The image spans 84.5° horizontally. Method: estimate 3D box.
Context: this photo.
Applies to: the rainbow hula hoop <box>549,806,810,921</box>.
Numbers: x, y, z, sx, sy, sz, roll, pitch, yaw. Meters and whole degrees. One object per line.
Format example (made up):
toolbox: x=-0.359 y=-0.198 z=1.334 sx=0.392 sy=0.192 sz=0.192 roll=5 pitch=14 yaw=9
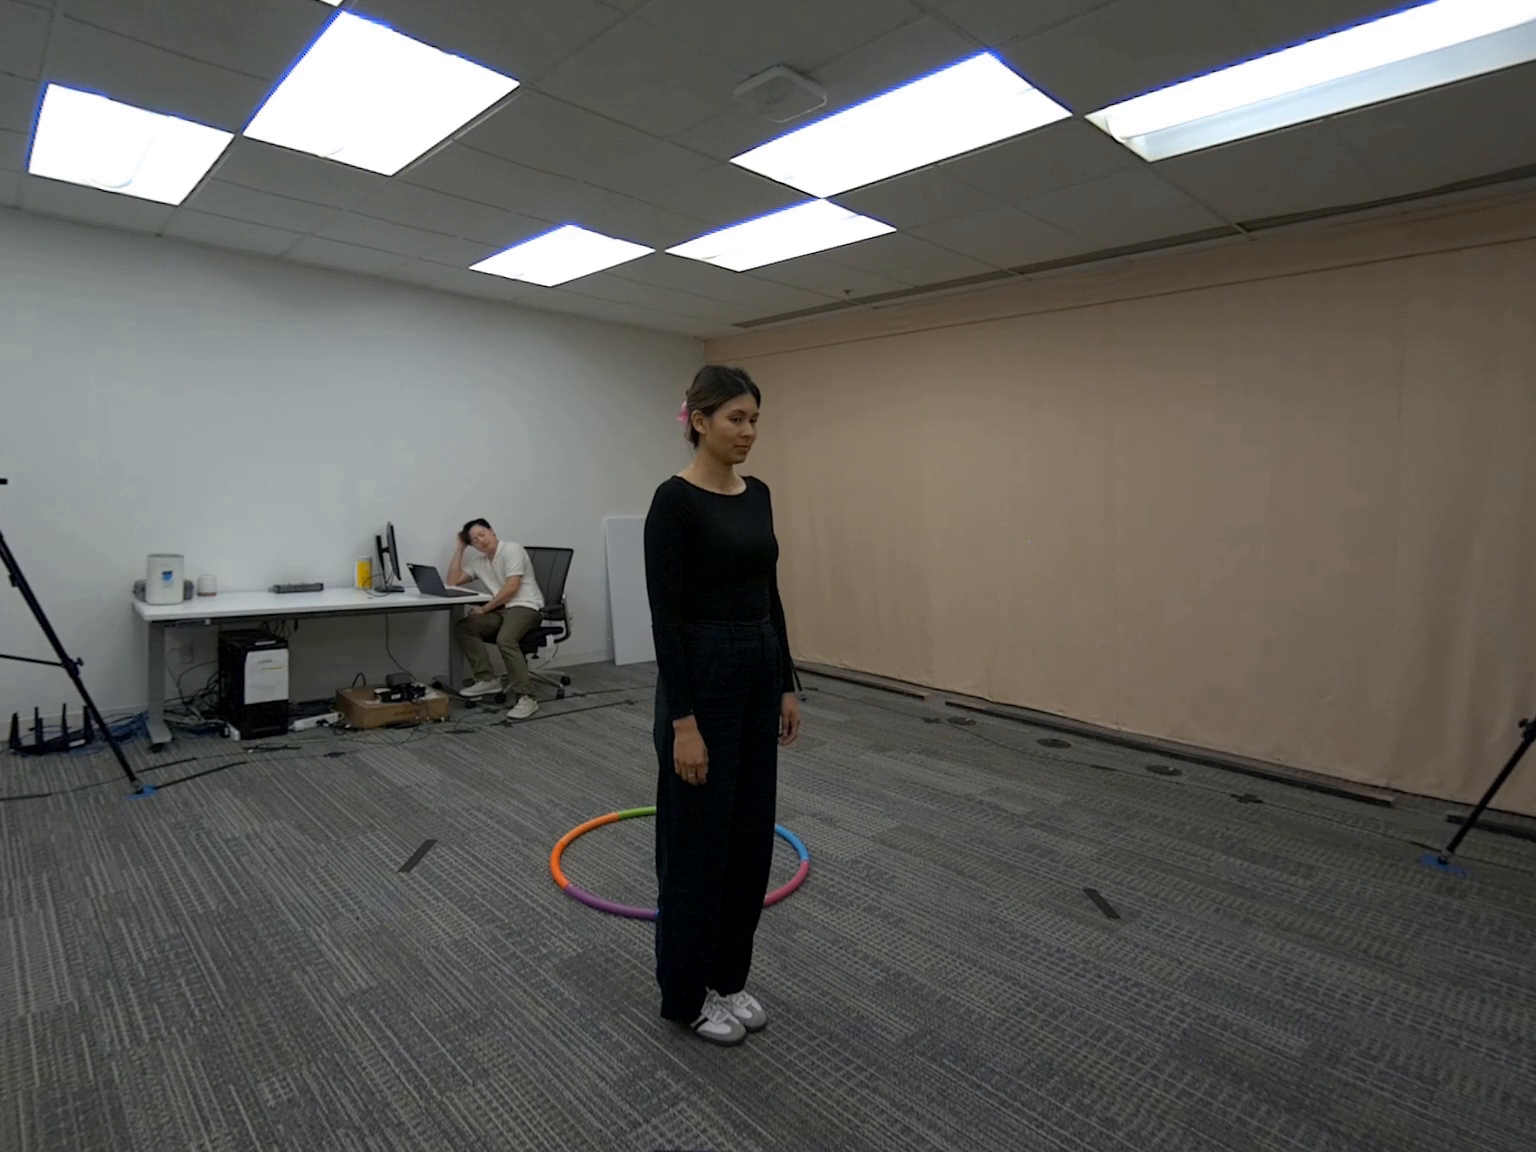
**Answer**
rainbow hula hoop: x=-0.339 y=1.061 z=3.238 sx=0.978 sy=0.035 sz=0.982 roll=1 pitch=5 yaw=-1
